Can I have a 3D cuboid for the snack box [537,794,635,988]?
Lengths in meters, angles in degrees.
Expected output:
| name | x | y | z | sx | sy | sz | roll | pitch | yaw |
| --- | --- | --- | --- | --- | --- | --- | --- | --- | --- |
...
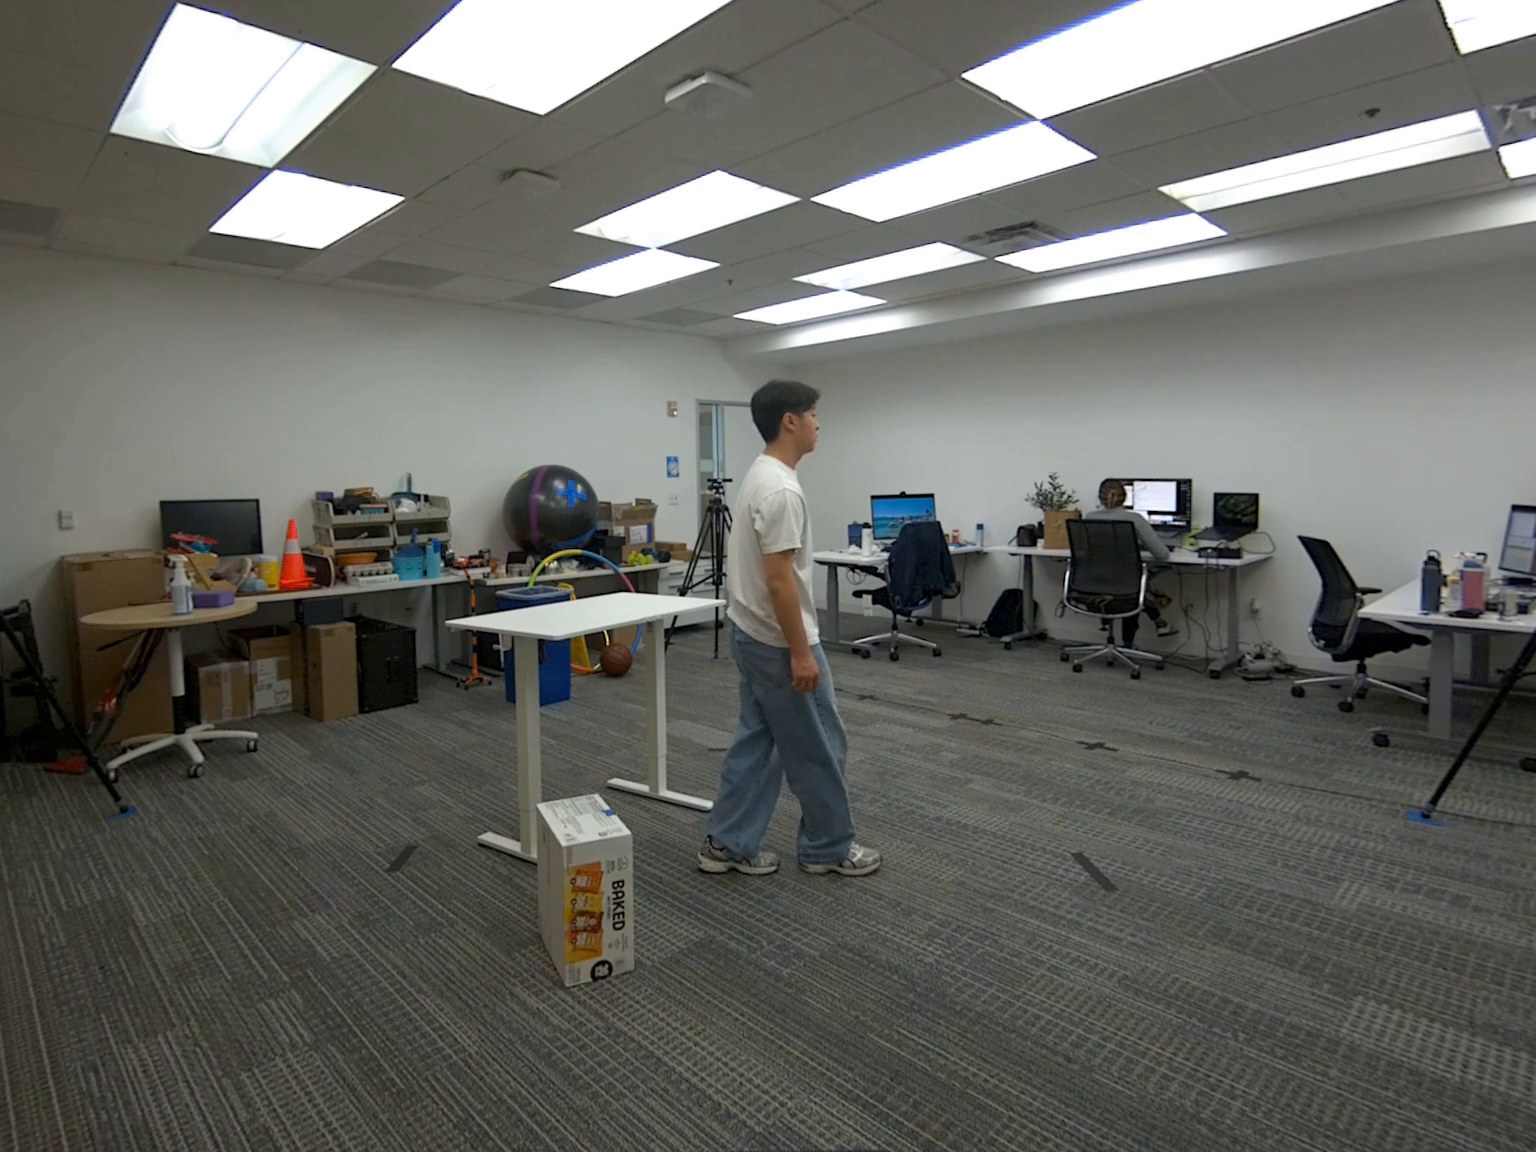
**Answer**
| name | x | y | z | sx | sy | sz | roll | pitch | yaw |
| --- | --- | --- | --- | --- | --- | --- | --- | --- | --- |
| snack box | -0.547 | 0.918 | 2.540 | 0.201 | 0.403 | 0.349 | -3 | 6 | -27 |
